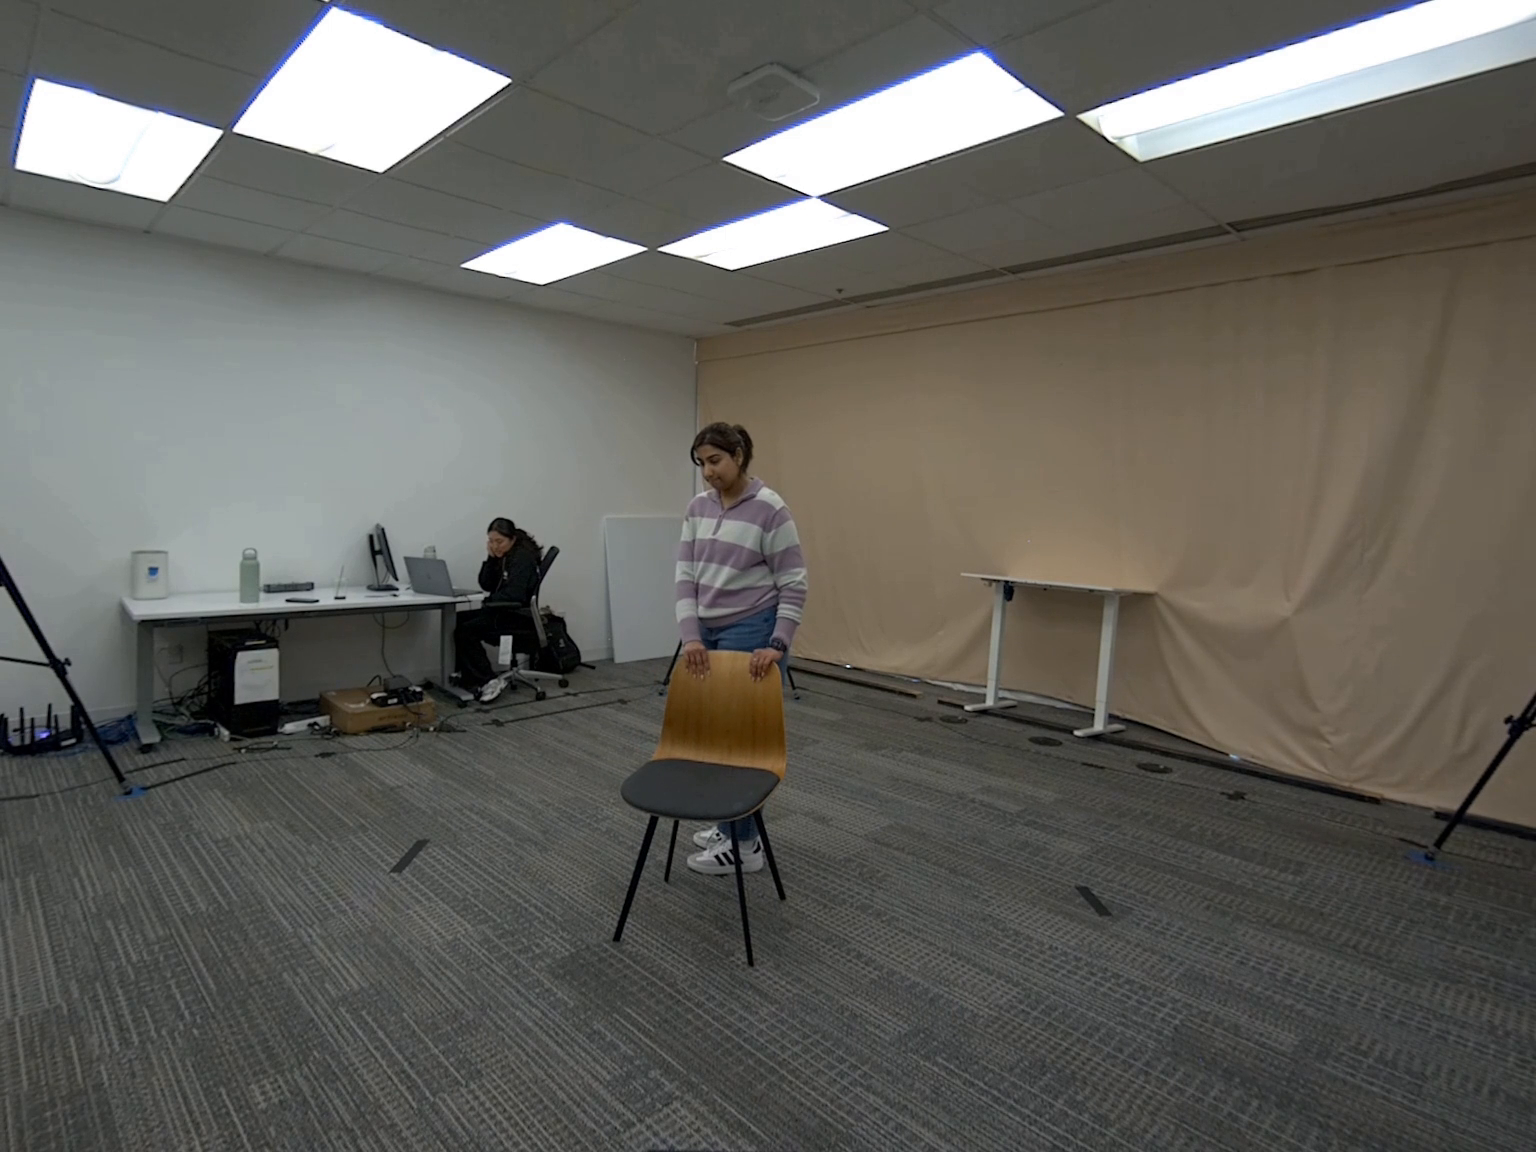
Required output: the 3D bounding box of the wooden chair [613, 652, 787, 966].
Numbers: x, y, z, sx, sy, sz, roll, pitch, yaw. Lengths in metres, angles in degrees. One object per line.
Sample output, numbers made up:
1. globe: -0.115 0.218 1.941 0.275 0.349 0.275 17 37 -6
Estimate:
1. wooden chair: -0.209 0.708 2.731 0.484 0.878 0.516 2 0 15
